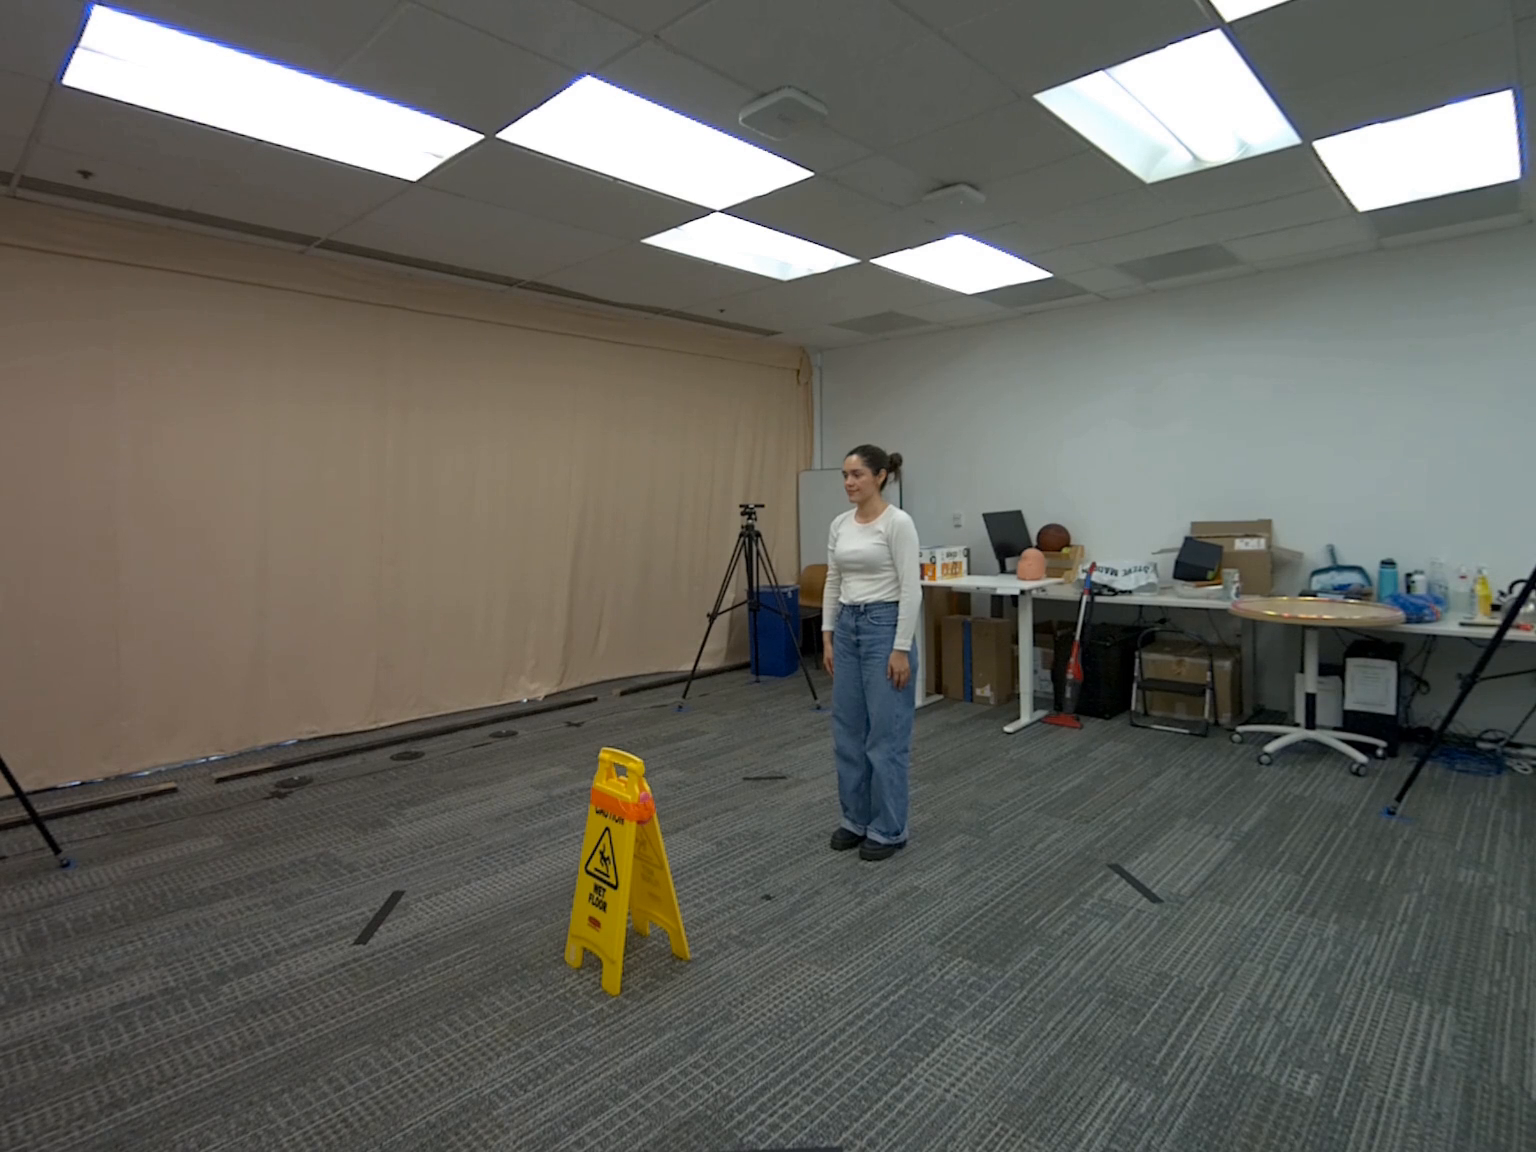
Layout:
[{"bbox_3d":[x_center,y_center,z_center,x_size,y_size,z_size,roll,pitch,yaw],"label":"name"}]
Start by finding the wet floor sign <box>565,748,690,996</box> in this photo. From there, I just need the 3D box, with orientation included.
[{"bbox_3d":[-0.440,0.862,2.565,0.281,0.645,0.291,-5,4,-44],"label":"wet floor sign"}]
